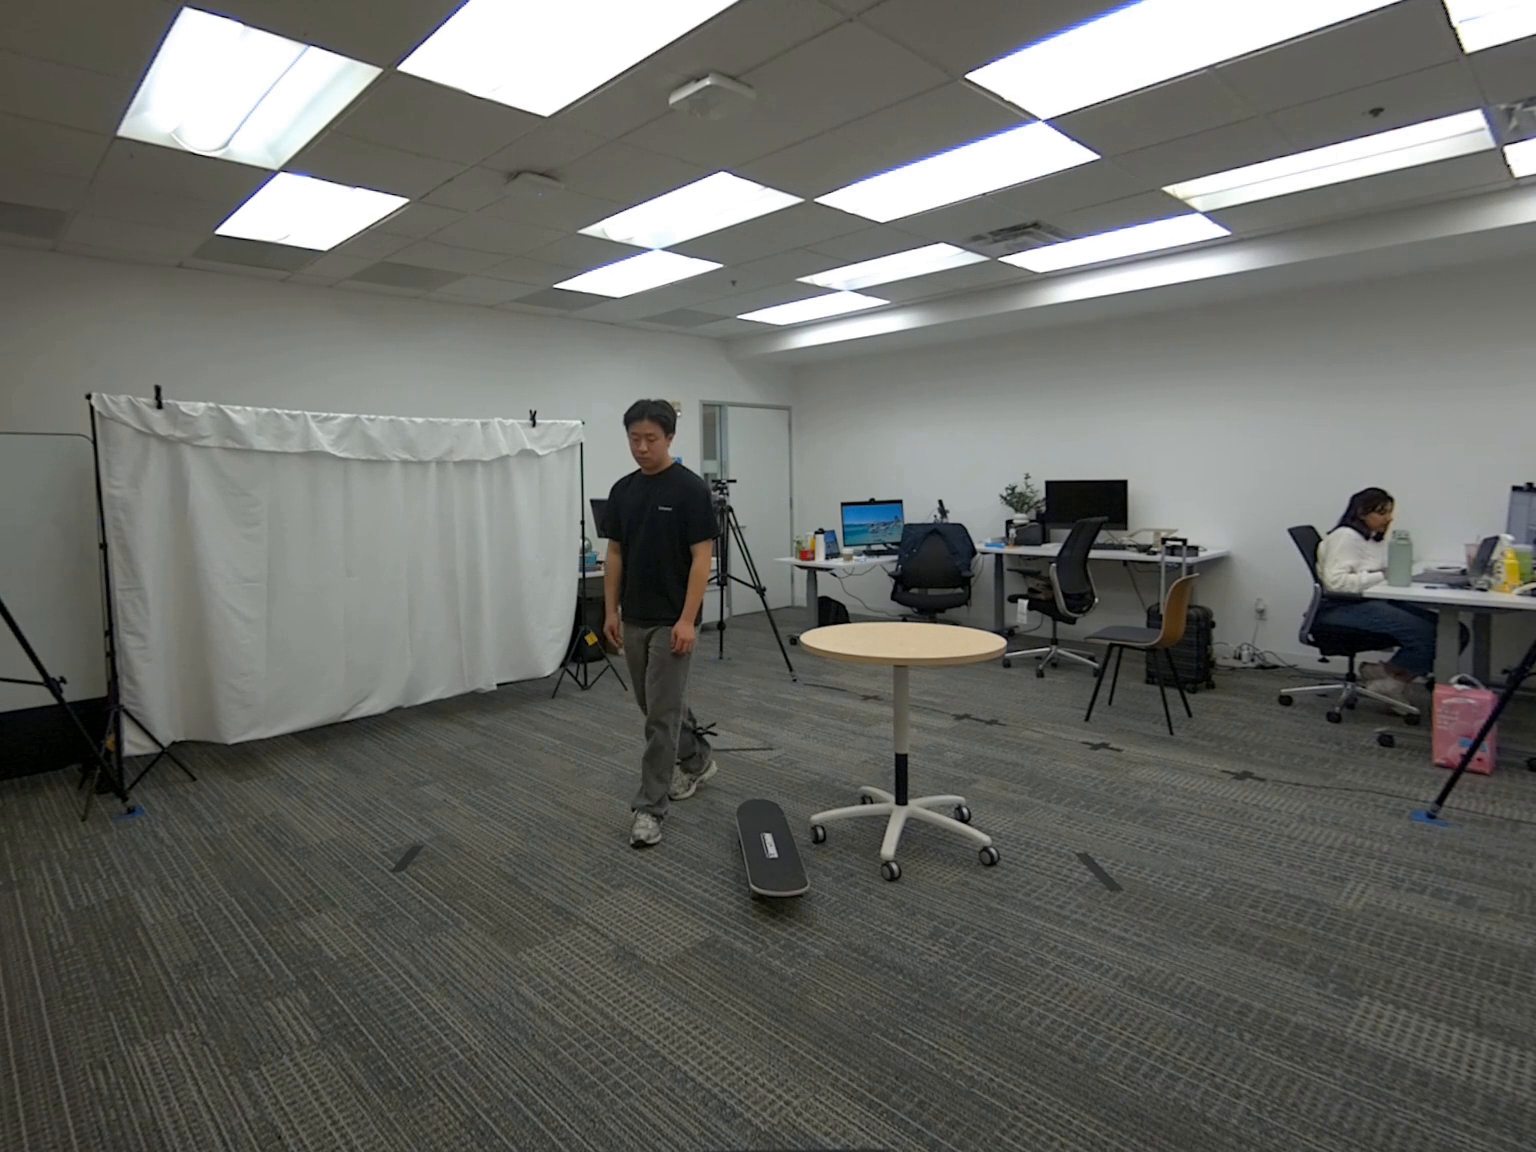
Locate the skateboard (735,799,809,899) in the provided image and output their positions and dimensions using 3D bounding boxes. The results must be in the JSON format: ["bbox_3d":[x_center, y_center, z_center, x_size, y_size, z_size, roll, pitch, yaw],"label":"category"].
[{"bbox_3d":[0.012,0.996,3.055,0.192,0.110,0.793,-1,6,-7],"label":"skateboard"}]
